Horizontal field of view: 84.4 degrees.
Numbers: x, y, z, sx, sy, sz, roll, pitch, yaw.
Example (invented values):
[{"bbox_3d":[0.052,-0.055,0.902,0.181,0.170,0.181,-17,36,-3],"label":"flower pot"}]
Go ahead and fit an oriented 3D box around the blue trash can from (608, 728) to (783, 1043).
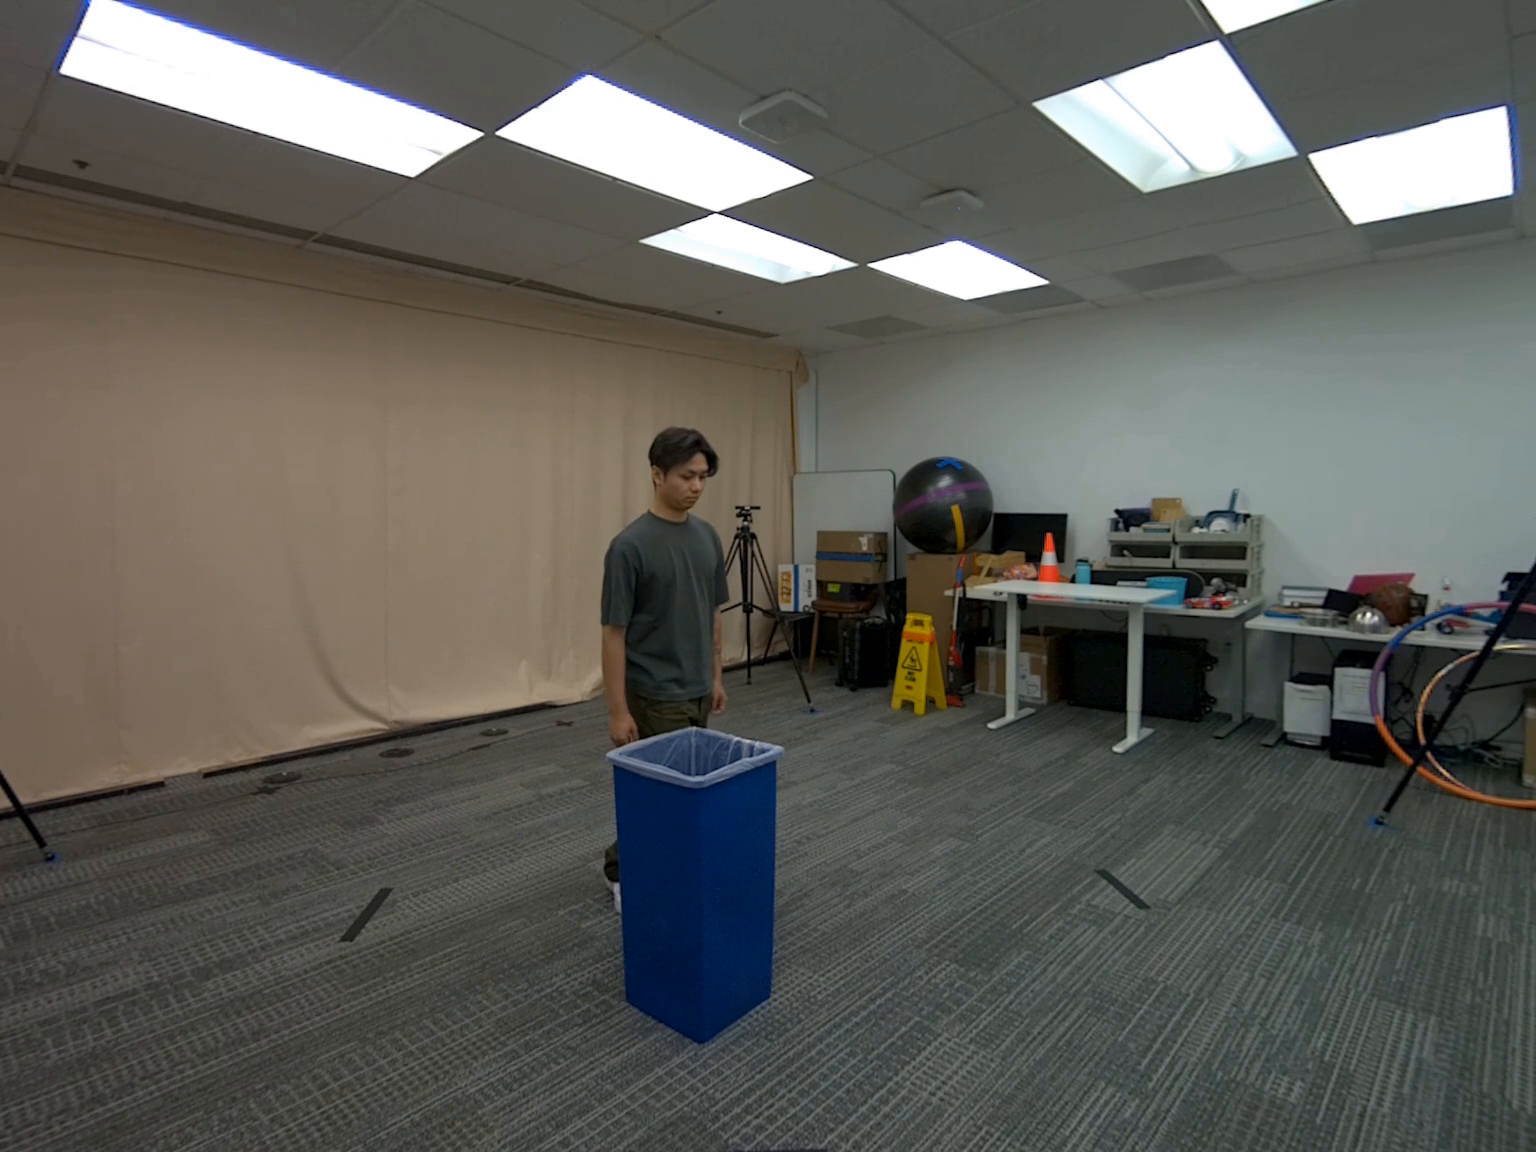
[{"bbox_3d":[-0.186,0.846,2.345,0.386,0.712,0.367,2,4,36],"label":"blue trash can"}]
